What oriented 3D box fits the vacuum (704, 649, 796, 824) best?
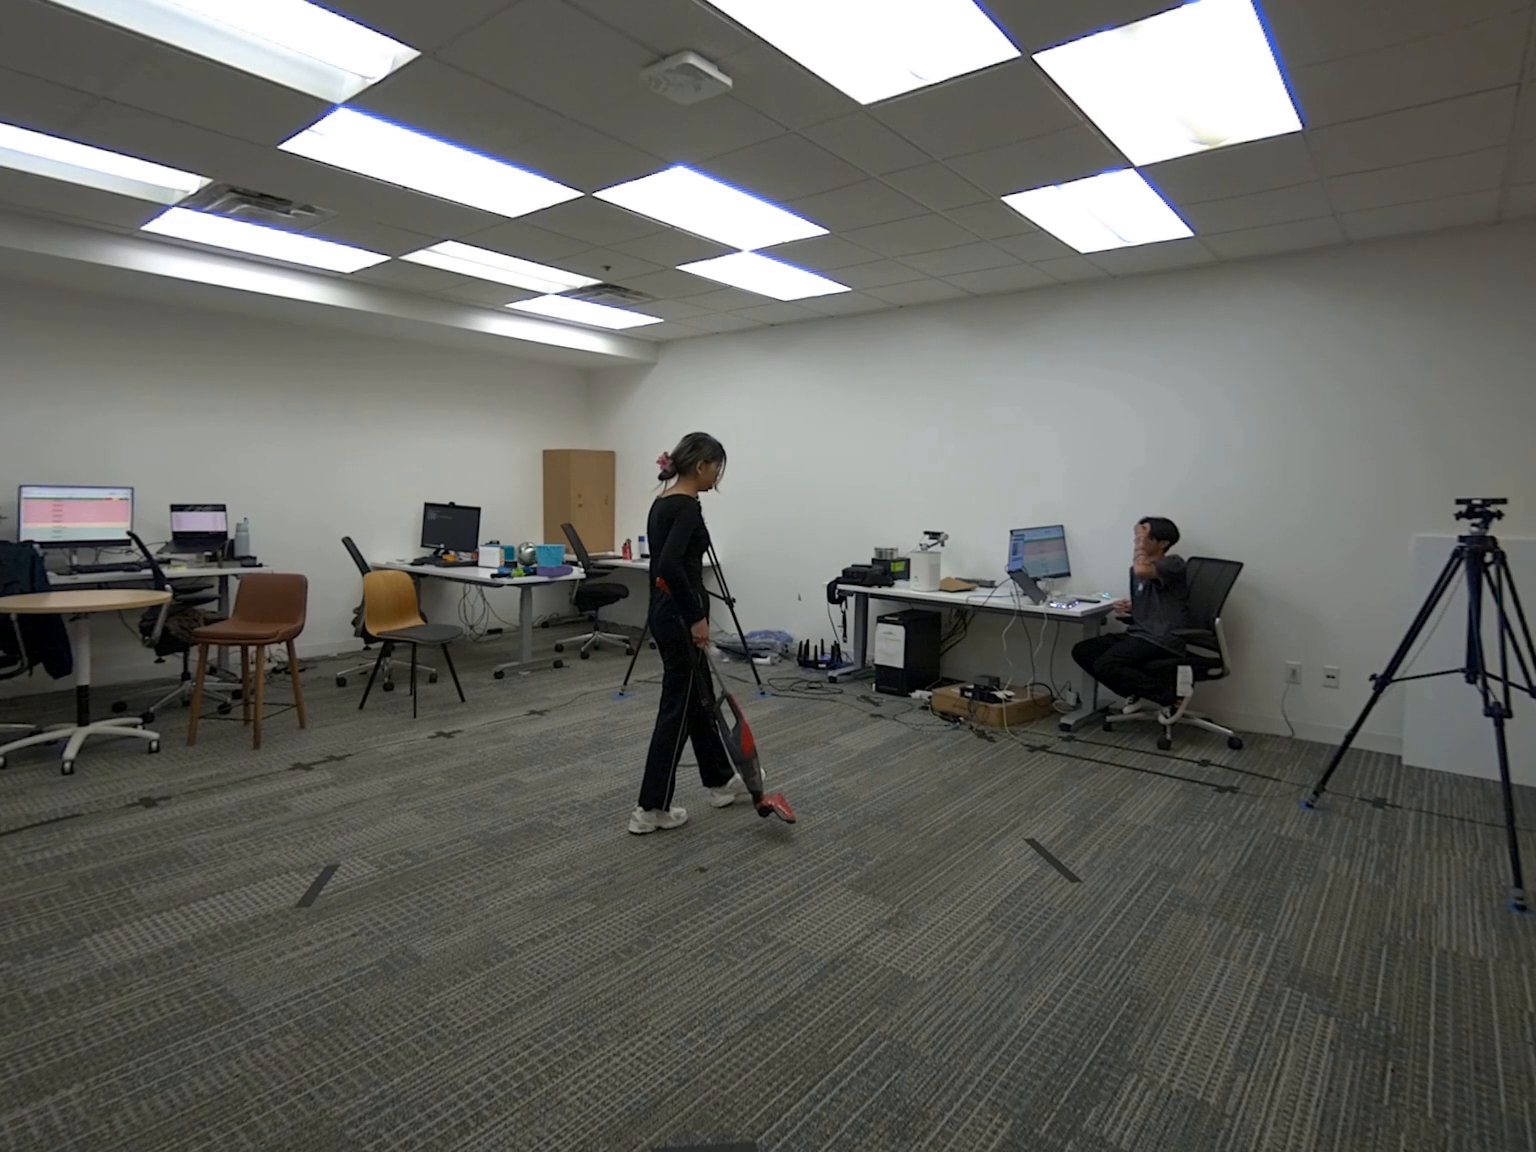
[{"bbox_3d":[-0.200,0.489,3.379,0.144,1.036,0.256,-26,9,-2],"label":"vacuum"}]
